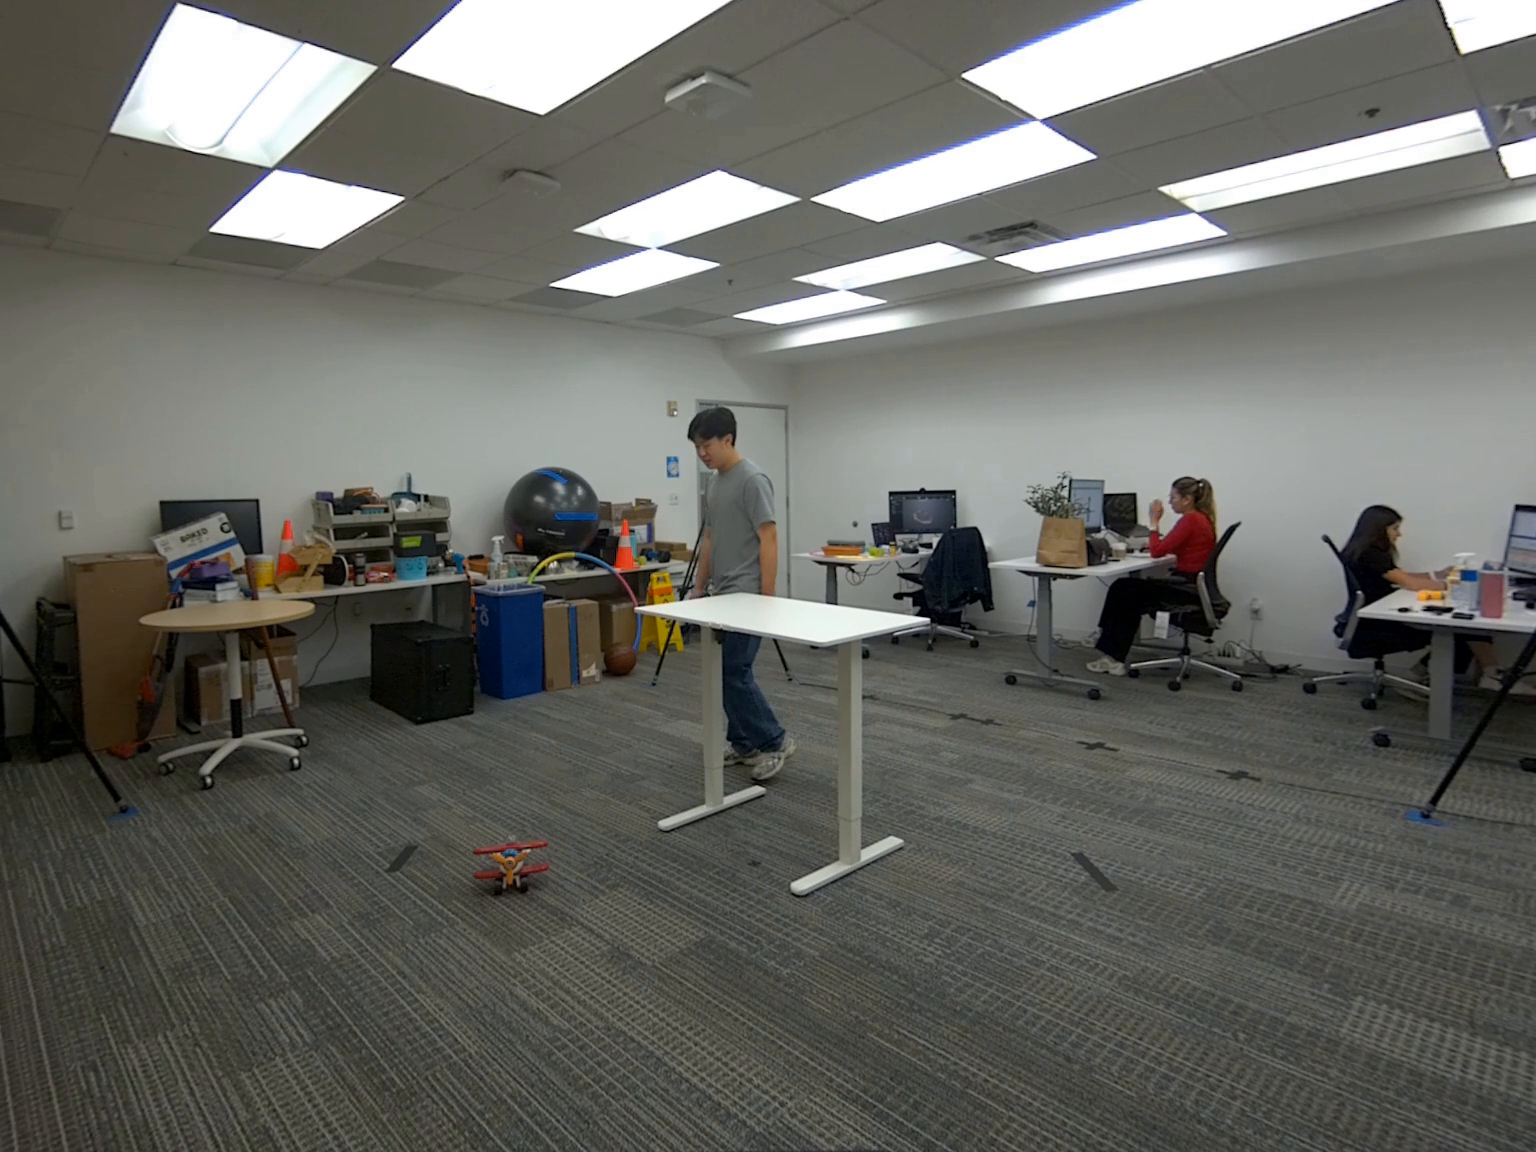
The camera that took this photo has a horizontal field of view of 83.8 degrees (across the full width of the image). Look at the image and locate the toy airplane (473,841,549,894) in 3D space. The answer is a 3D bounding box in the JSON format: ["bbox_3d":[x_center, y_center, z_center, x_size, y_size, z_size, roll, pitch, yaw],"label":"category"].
[{"bbox_3d":[-0.919,1.002,2.995,0.244,0.156,0.267,-6,8,-42],"label":"toy airplane"}]
